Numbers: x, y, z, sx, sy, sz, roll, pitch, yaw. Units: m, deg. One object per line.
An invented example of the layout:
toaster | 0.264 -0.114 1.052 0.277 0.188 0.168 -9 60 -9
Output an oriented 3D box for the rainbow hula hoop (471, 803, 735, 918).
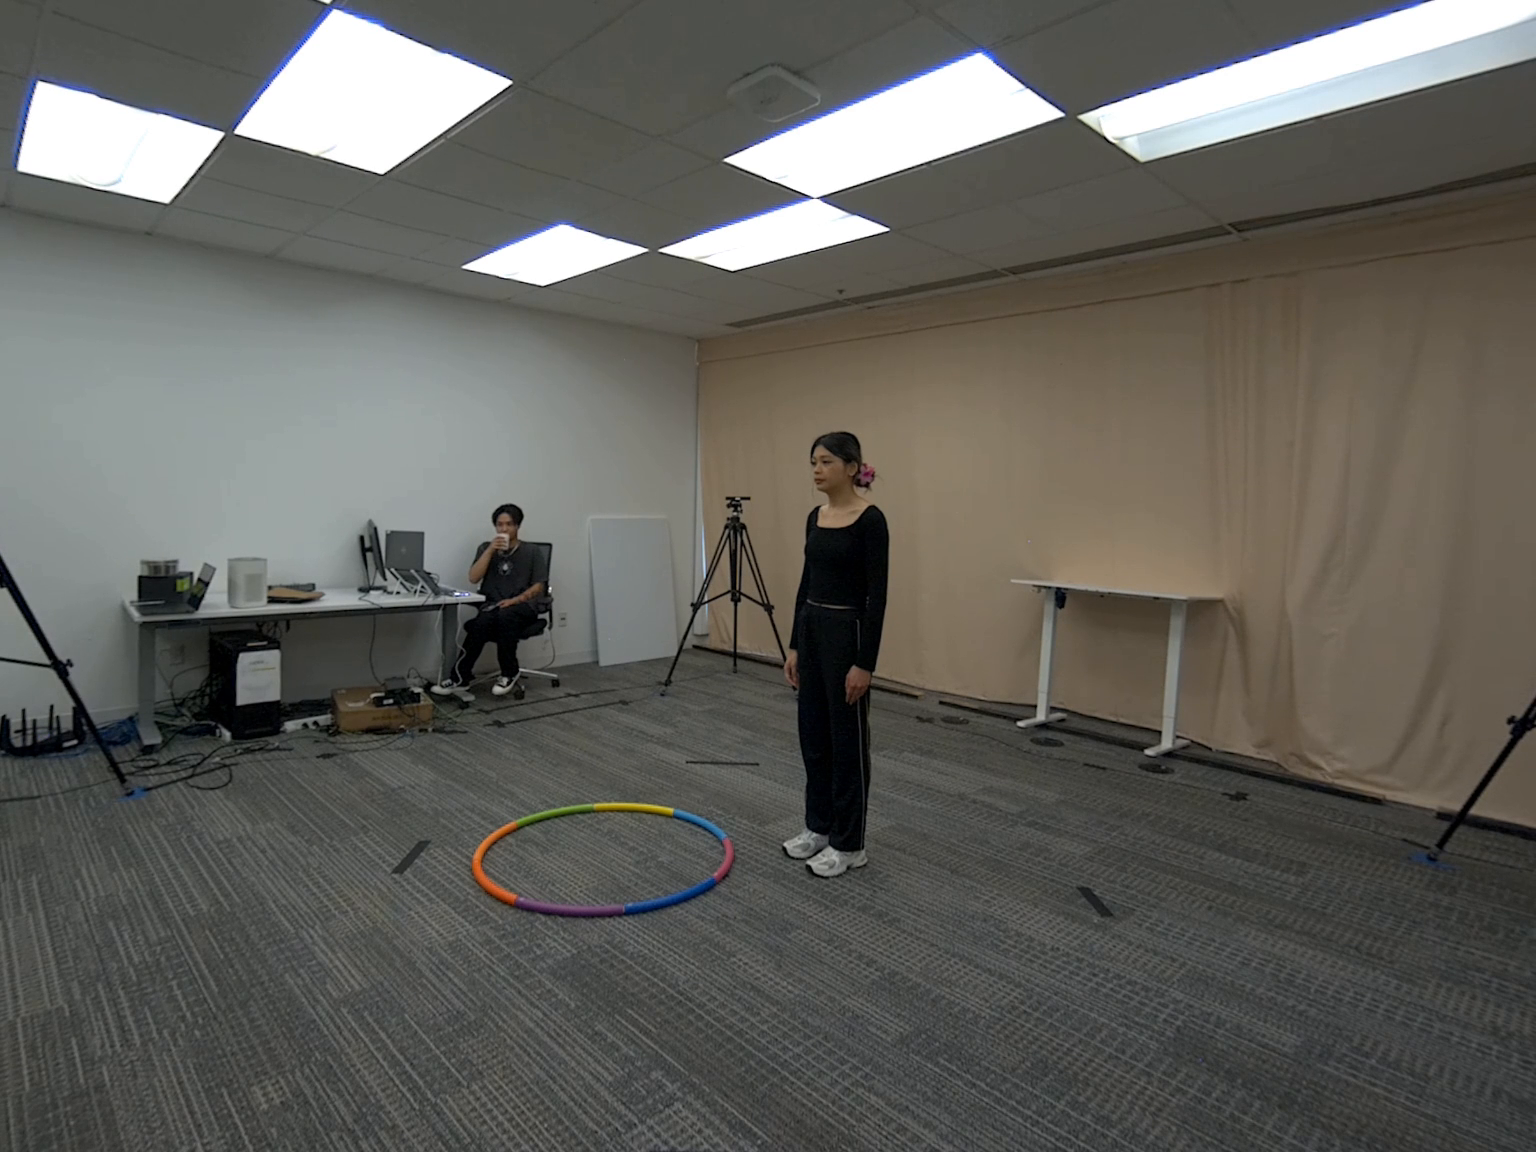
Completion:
rainbow hula hoop | -0.626 1.054 3.251 0.978 0.035 0.982 2 5 -2
